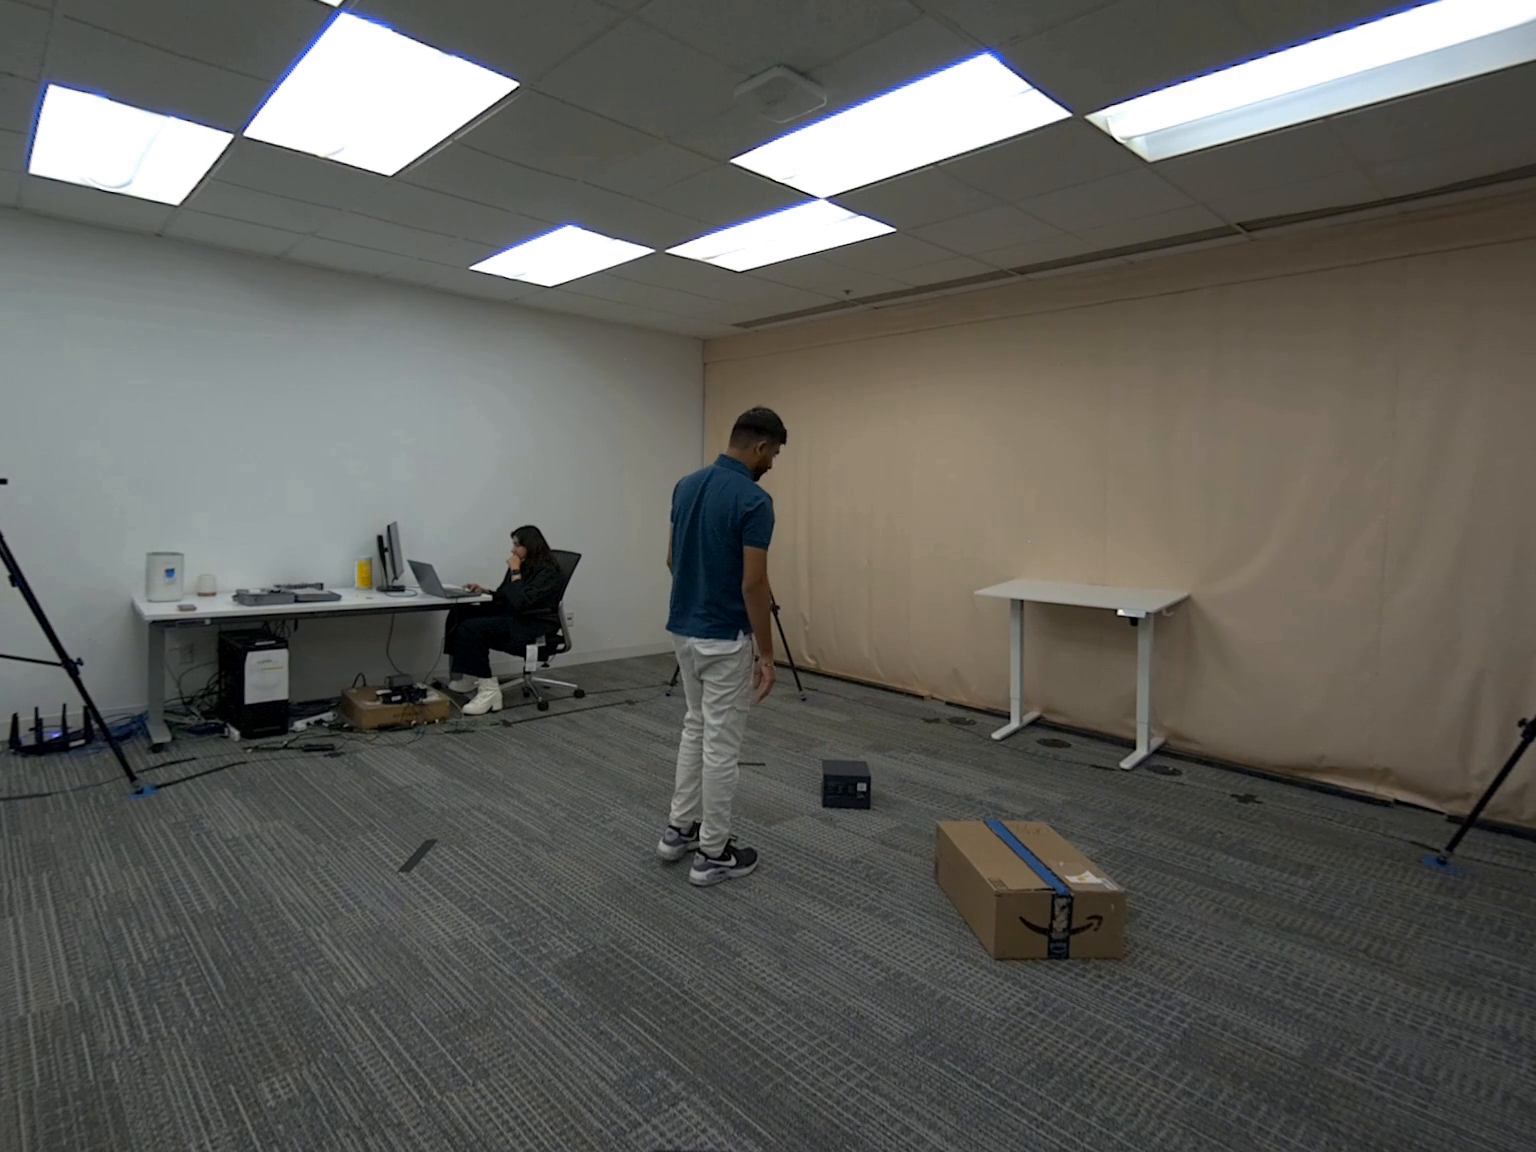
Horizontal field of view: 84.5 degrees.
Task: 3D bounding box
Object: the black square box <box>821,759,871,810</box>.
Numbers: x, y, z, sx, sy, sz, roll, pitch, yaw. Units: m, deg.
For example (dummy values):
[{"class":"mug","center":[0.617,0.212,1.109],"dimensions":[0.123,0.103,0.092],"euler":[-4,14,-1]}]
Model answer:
[{"class":"black square box","center":[0.351,0.961,3.929],"dimensions":[0.217,0.155,0.228],"euler":[1,4,2]}]
